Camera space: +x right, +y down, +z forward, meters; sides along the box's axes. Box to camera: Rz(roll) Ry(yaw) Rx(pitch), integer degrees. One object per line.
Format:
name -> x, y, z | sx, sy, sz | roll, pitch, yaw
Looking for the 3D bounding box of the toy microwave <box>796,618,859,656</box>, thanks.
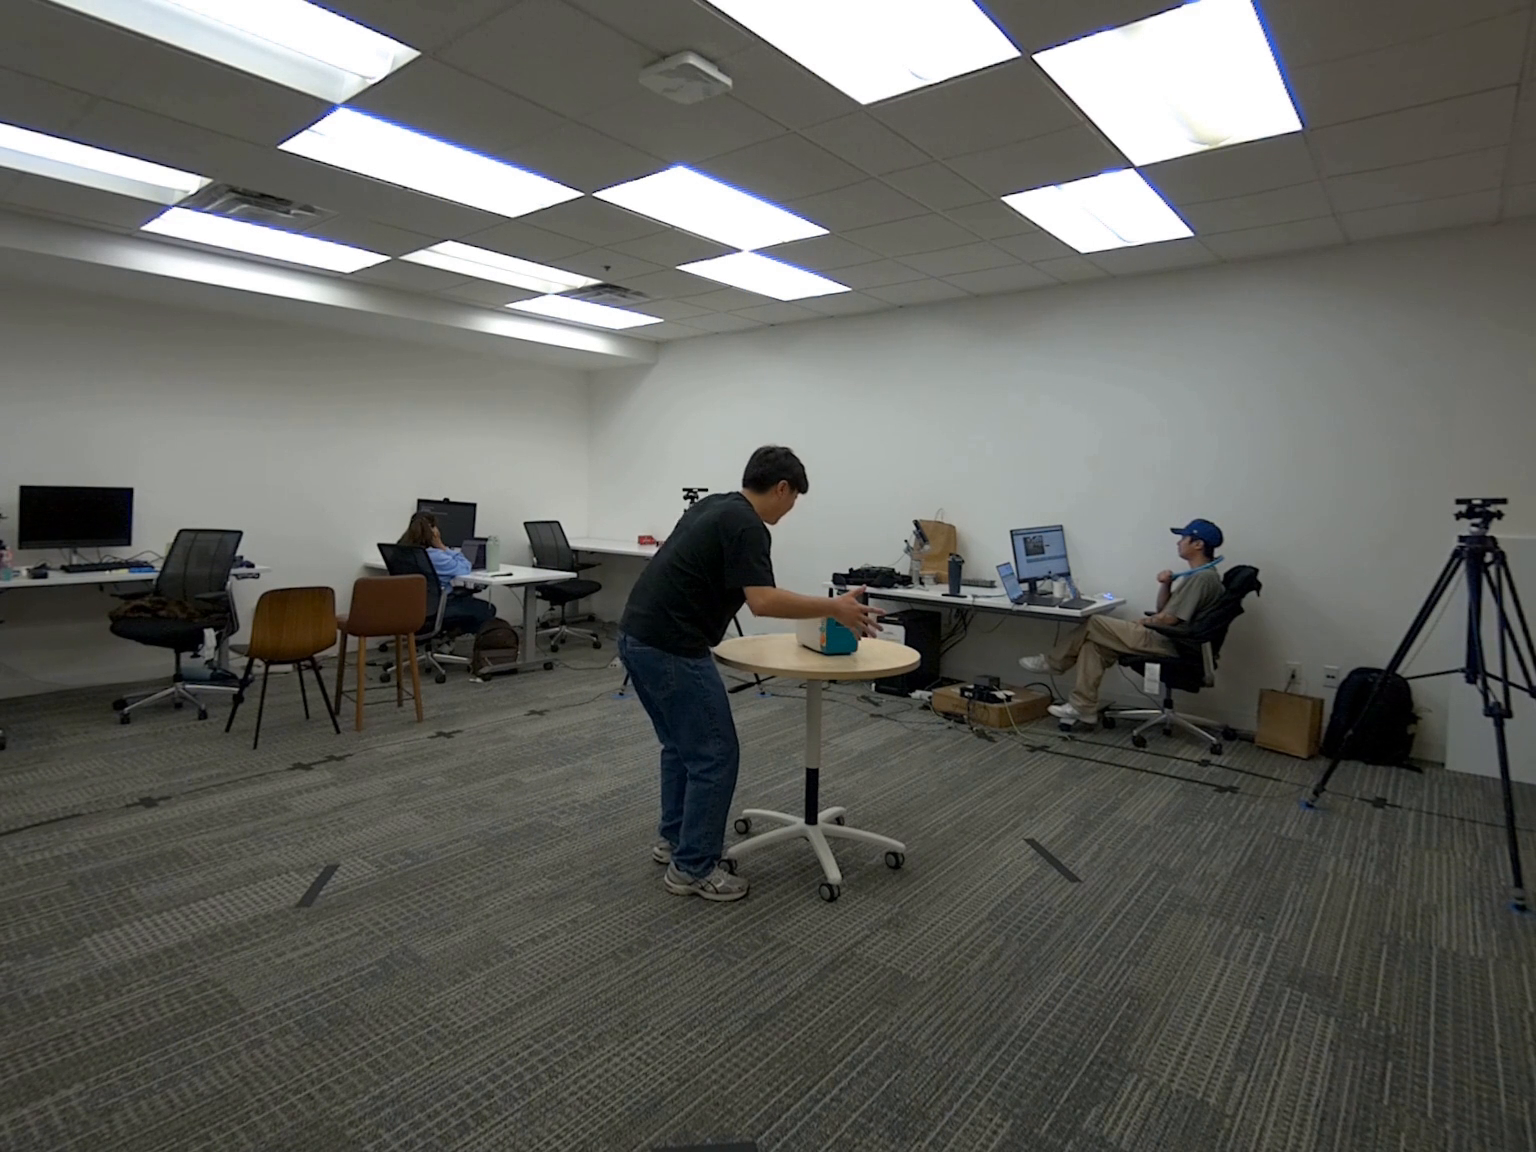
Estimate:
toy microwave -> 0.209, 0.184, 3.196 | 0.149, 0.183, 0.293 | -2, 4, -20
